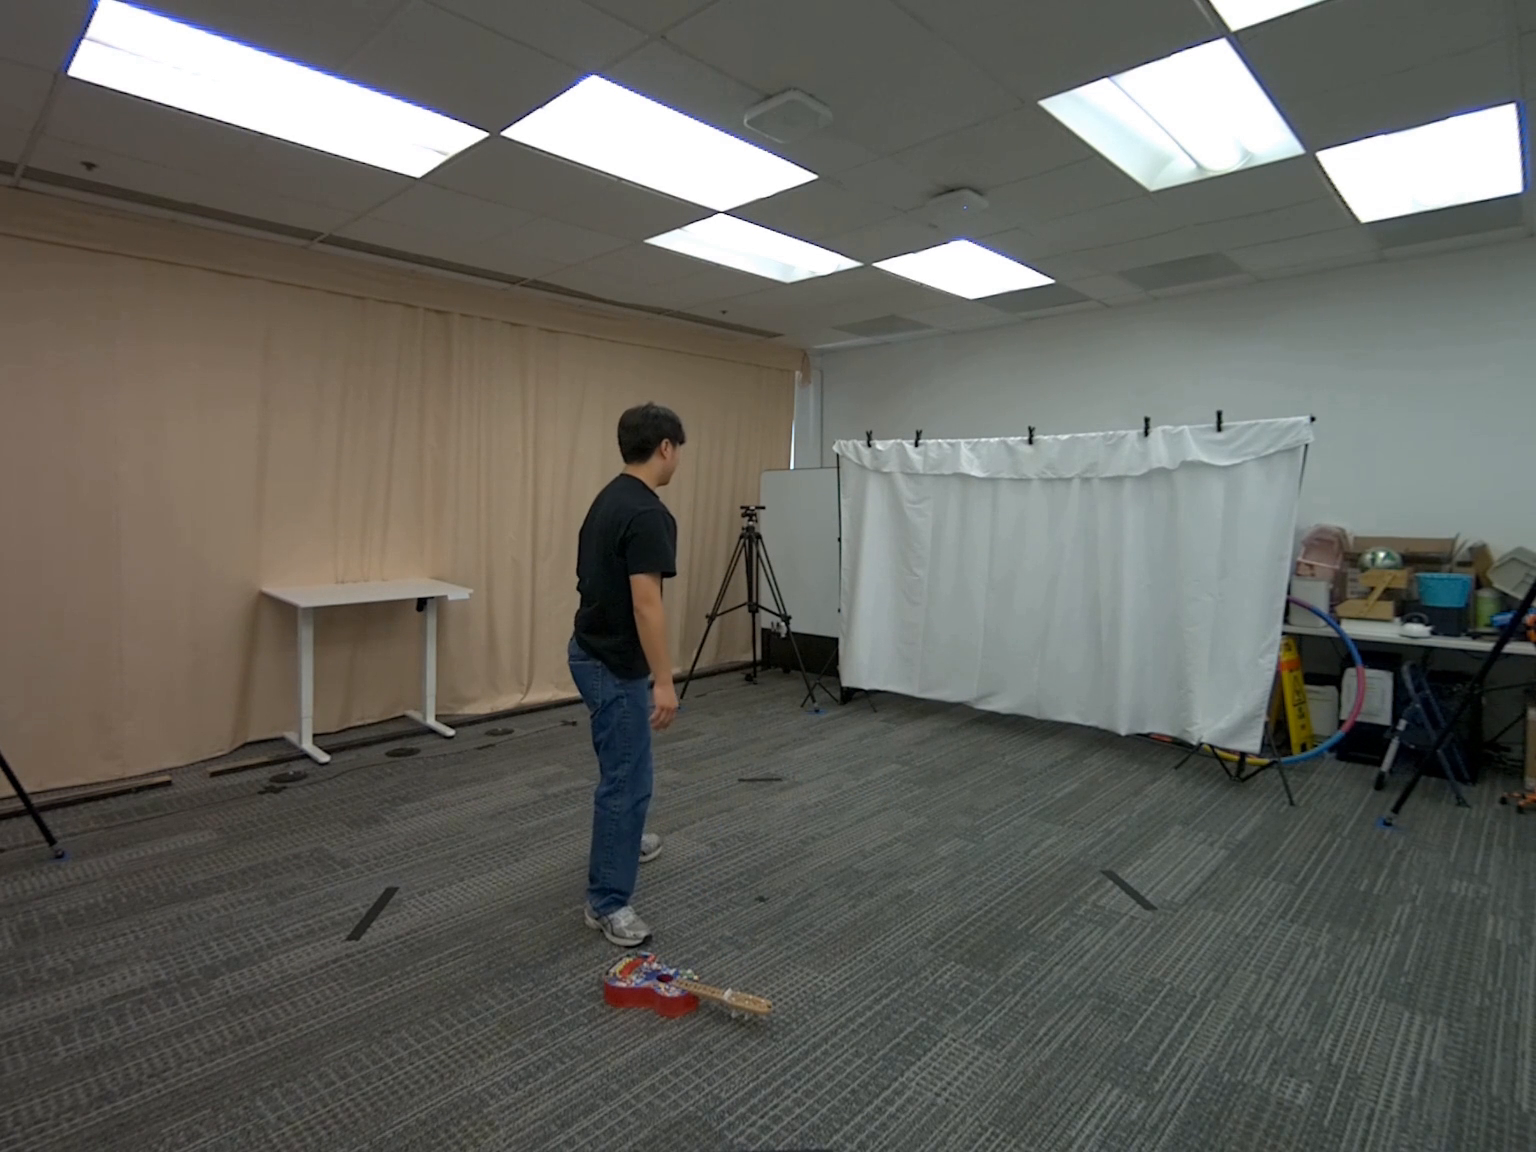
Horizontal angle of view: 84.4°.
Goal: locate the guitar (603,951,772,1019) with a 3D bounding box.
[{"bbox_3d":[-0.235,1.168,2.319,0.513,0.070,0.187,3,5,35],"label":"guitar"}]
